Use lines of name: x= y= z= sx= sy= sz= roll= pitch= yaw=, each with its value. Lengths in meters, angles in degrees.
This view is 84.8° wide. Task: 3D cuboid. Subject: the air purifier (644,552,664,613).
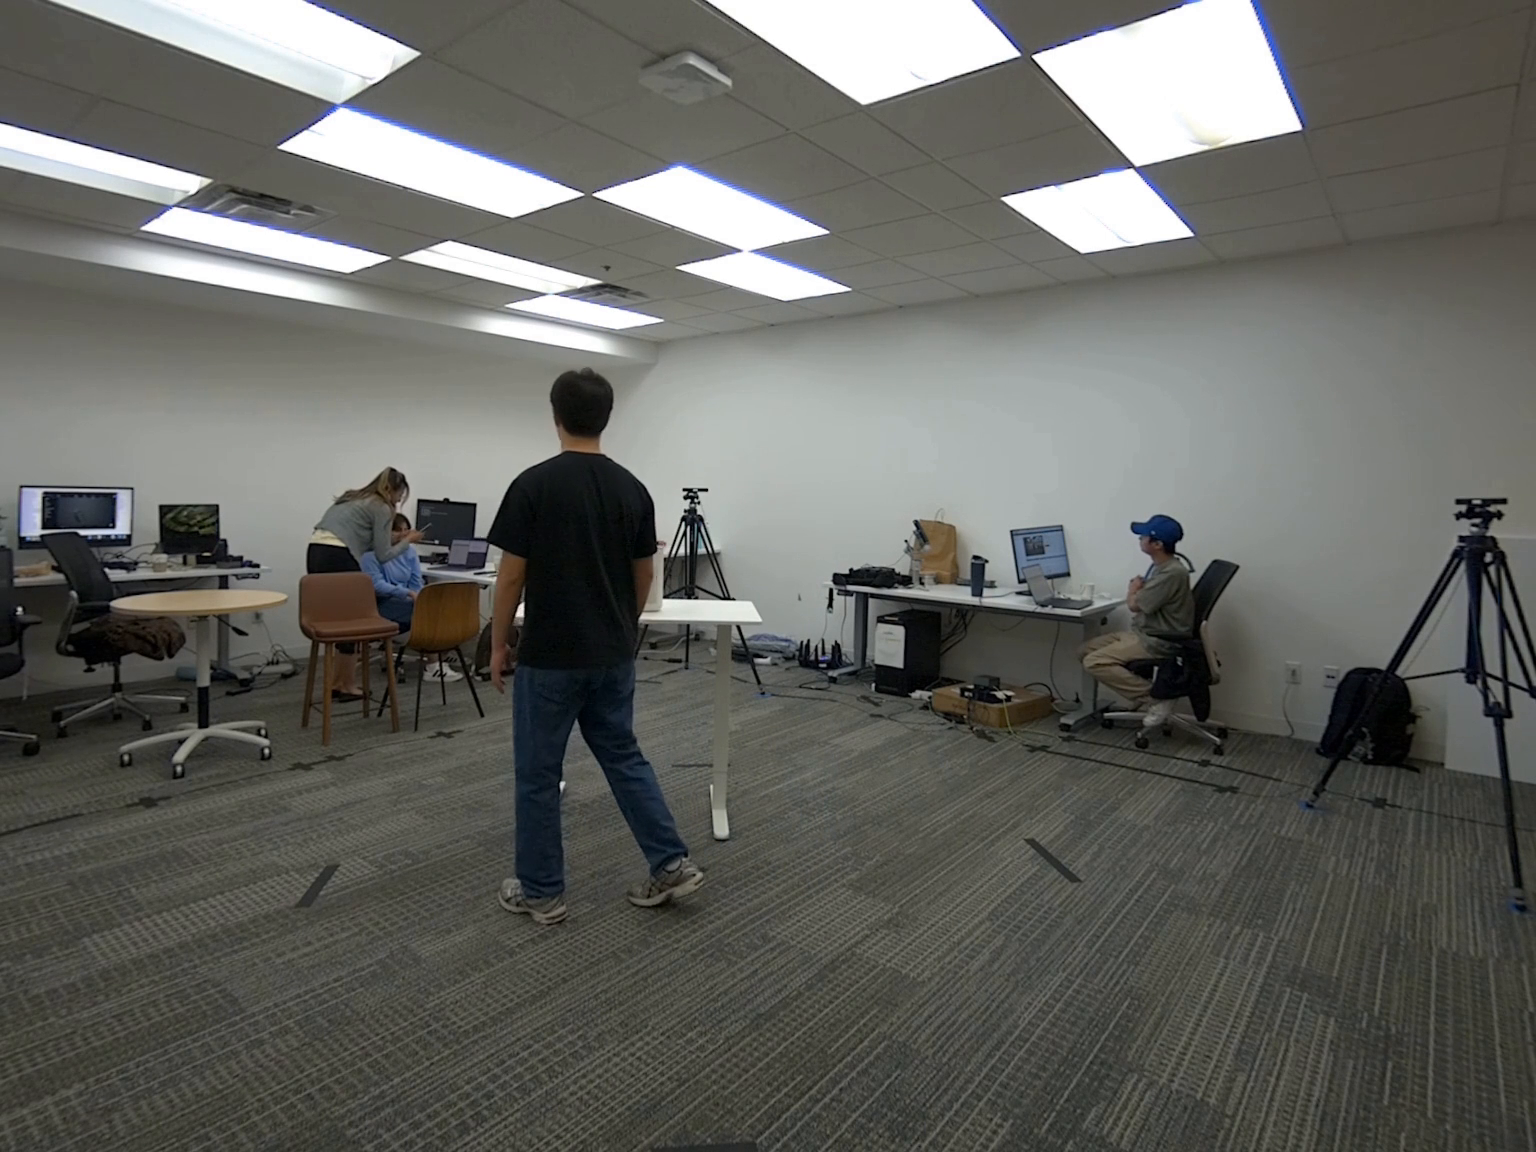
air purifier: x=-0.530 y=0.005 z=3.553 sx=0.169 sy=0.264 sz=0.174 roll=3 pitch=4 yaw=-15
